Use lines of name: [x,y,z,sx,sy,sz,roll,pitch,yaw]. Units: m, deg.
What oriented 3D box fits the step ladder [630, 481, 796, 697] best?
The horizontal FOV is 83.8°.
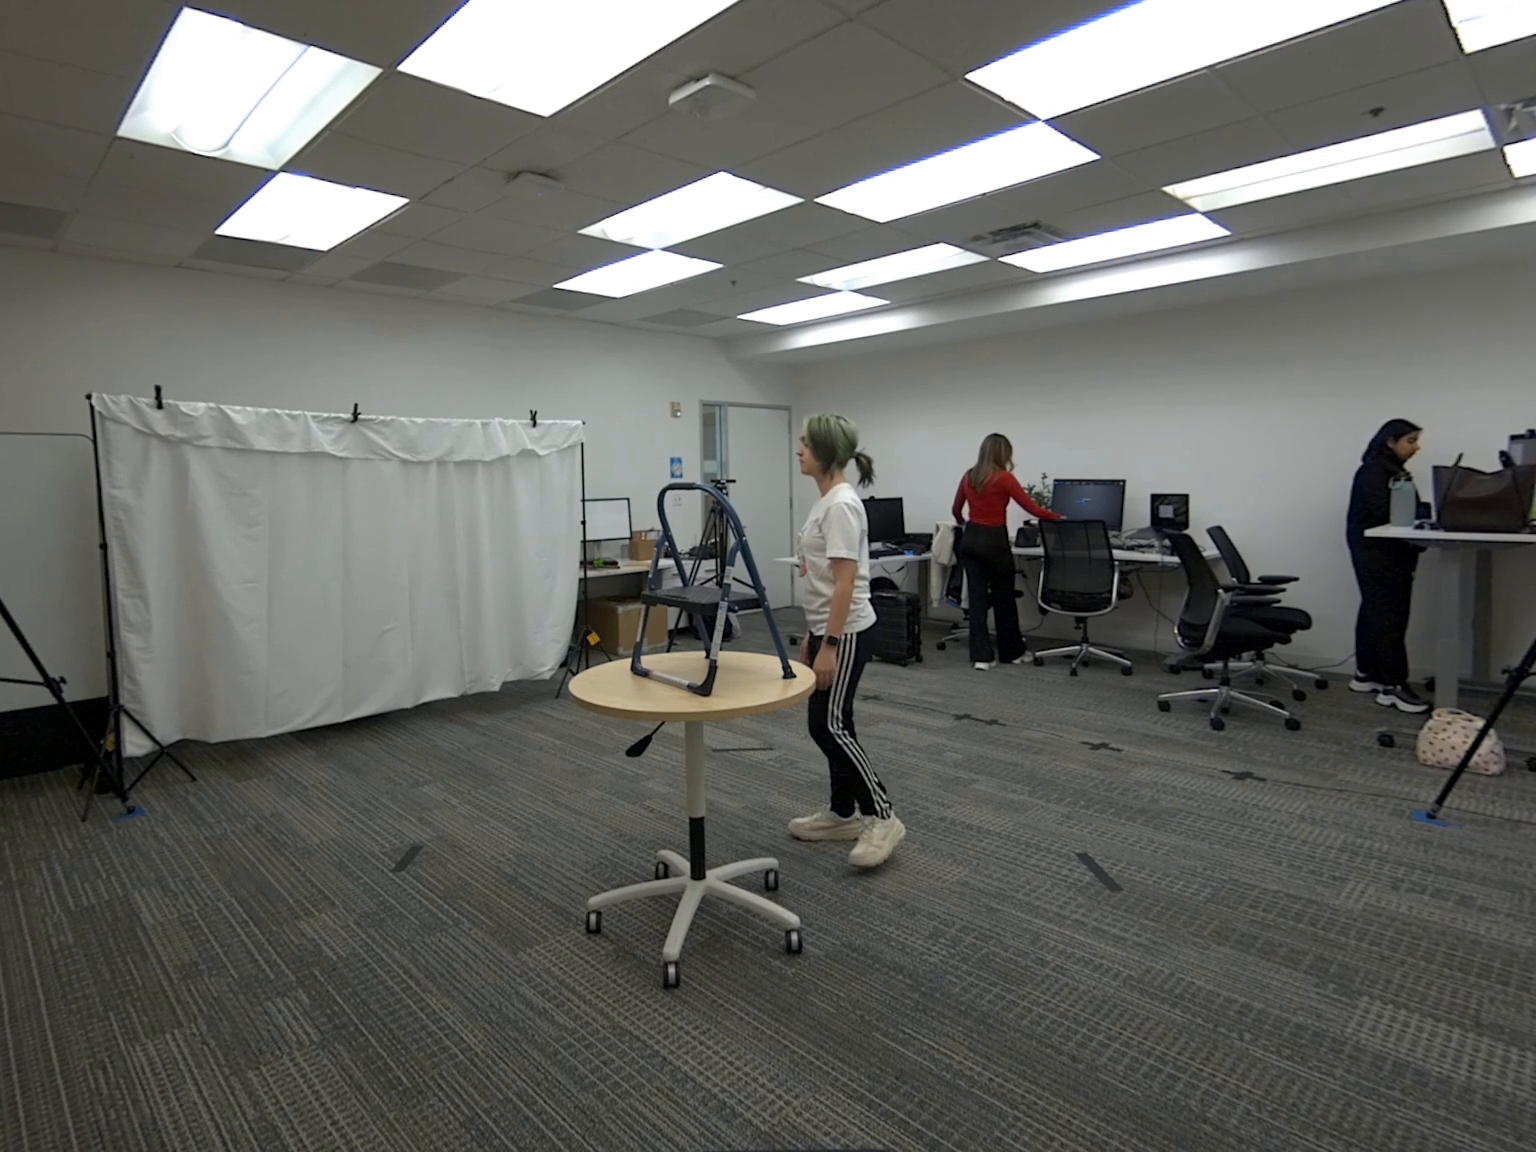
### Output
step ladder: [-0.186,0.015,2.665,0.340,0.604,0.443,-5,6,-40]
